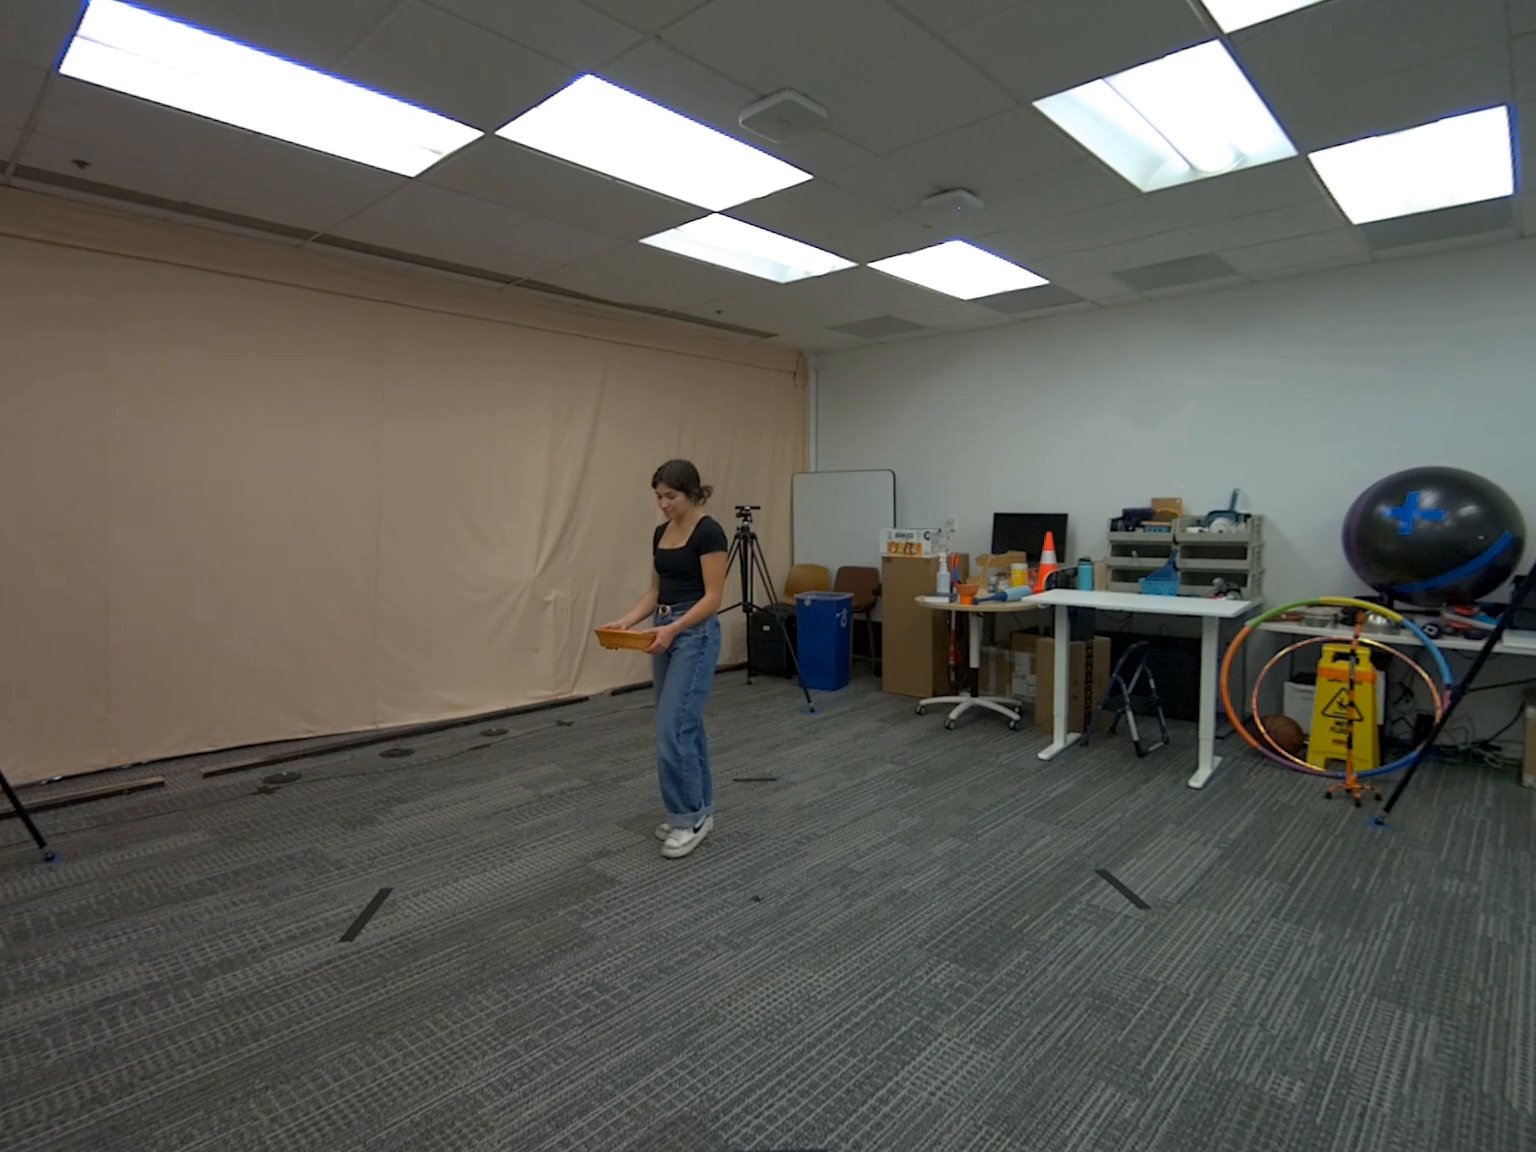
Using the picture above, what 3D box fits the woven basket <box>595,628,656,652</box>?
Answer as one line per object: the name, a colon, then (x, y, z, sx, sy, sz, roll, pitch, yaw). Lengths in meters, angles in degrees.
woven basket: (-0.545, 0.264, 3.406, 0.244, 0.073, 0.362, 7, -5, -43)
